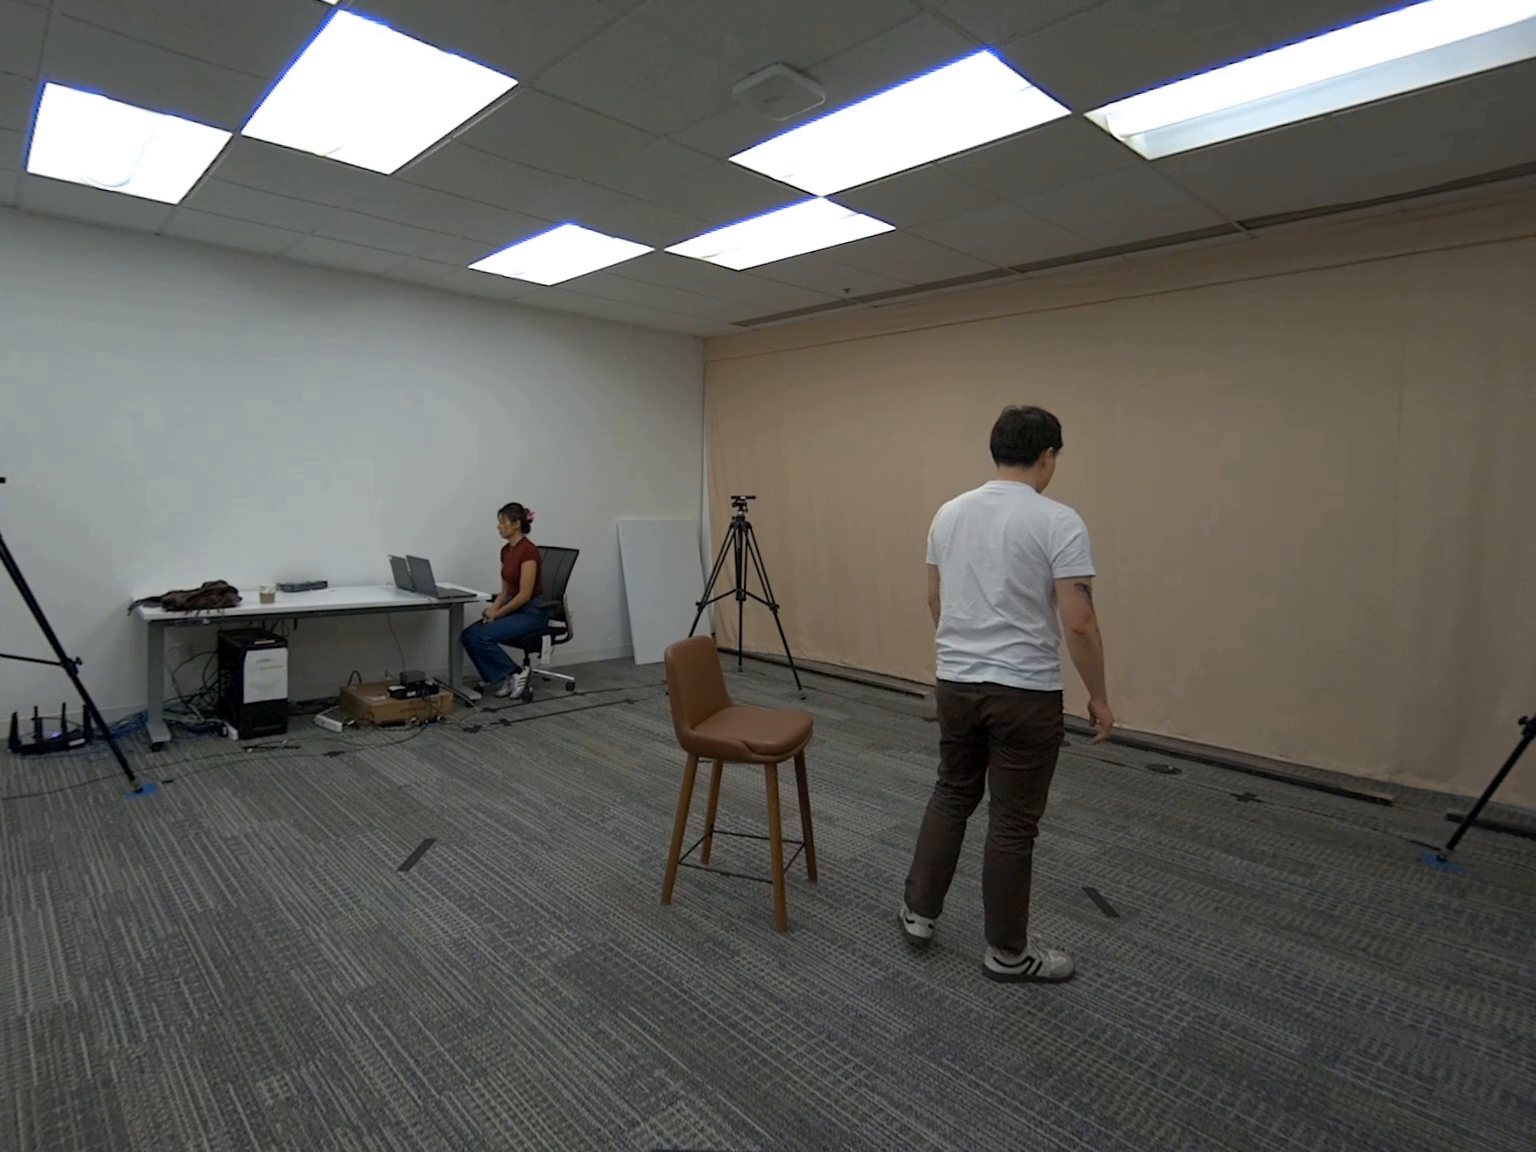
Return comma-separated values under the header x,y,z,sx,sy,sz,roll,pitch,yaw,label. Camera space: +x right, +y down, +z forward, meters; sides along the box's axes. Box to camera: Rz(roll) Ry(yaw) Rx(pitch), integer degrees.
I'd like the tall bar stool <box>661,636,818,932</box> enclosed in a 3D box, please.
x,y,z,sx,sy,sz,roll,pitch,yaw,label
-0.098,0.685,2.943,0.475,0.888,0.450,1,3,21,tall bar stool
